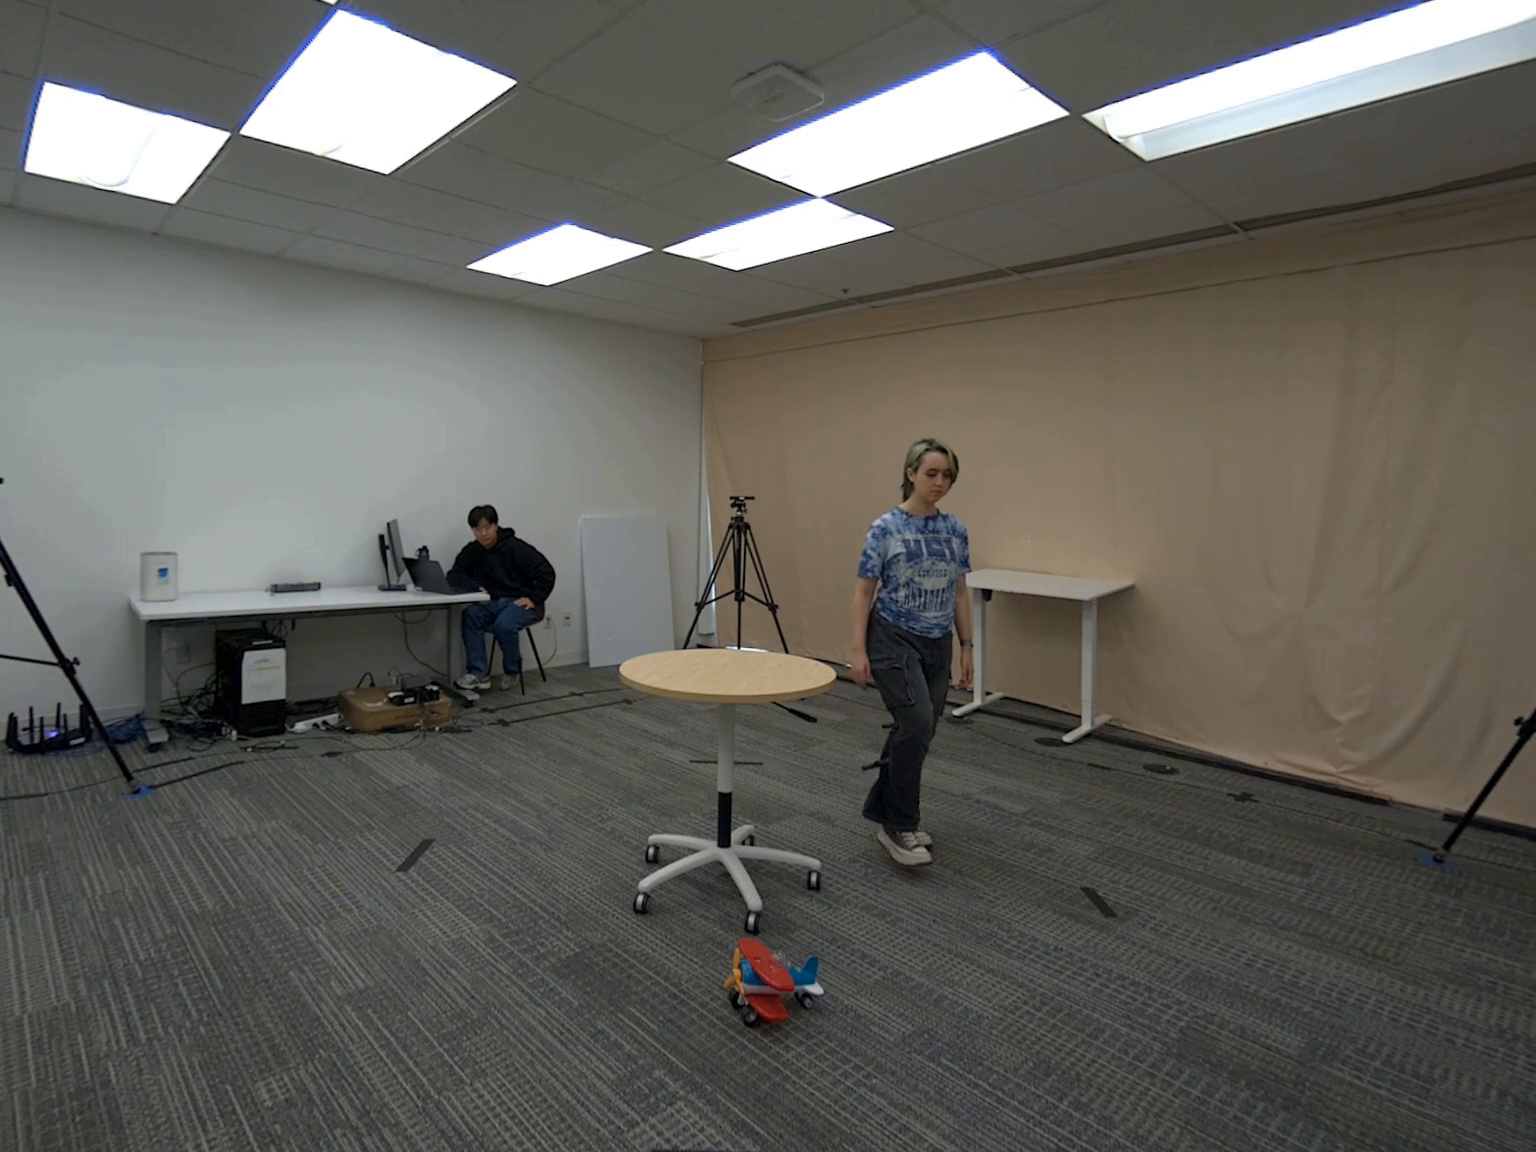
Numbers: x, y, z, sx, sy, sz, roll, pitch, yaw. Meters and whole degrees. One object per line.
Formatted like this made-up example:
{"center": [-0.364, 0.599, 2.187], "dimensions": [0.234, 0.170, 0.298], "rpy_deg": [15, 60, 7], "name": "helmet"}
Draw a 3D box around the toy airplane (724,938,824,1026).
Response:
{"center": [0.002, 1.109, 2.301], "dimensions": [0.257, 0.156, 0.254], "rpy_deg": [6, 8, 38], "name": "toy airplane"}
